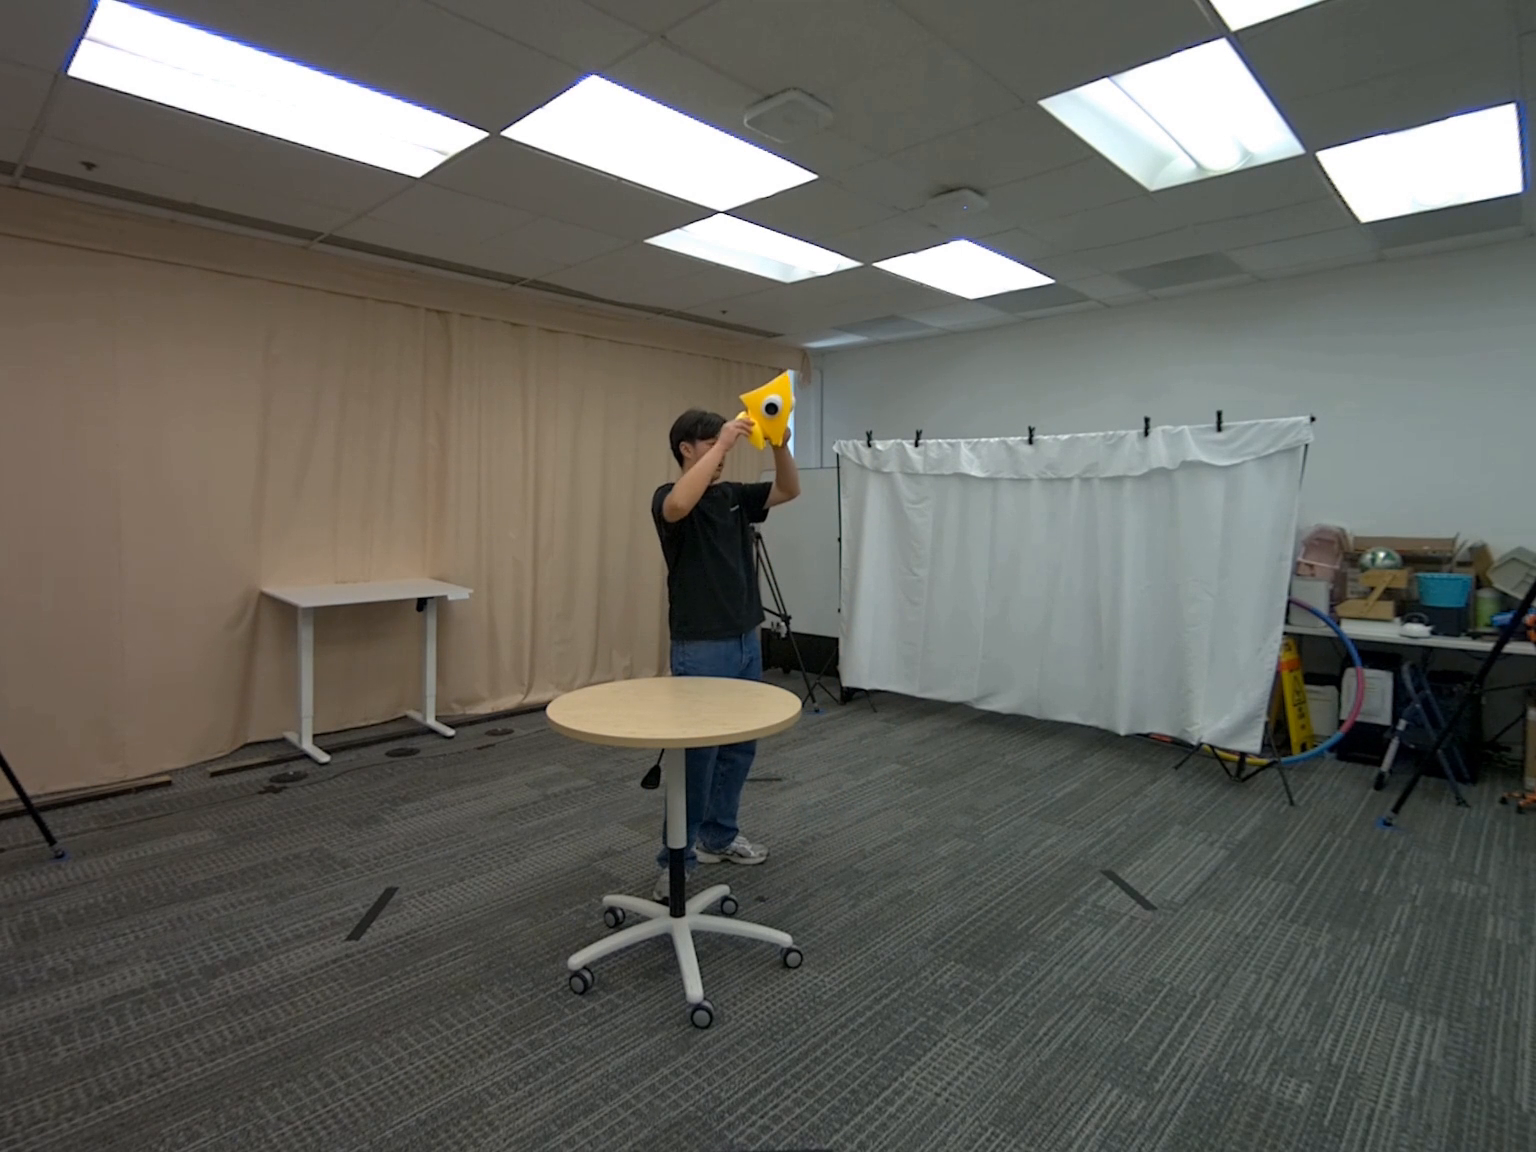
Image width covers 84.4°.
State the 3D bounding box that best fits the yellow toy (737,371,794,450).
[{"bbox_3d":[0.029,-0.582,2.943,0.233,0.195,0.200,-42,-12,35],"label":"yellow toy"}]
